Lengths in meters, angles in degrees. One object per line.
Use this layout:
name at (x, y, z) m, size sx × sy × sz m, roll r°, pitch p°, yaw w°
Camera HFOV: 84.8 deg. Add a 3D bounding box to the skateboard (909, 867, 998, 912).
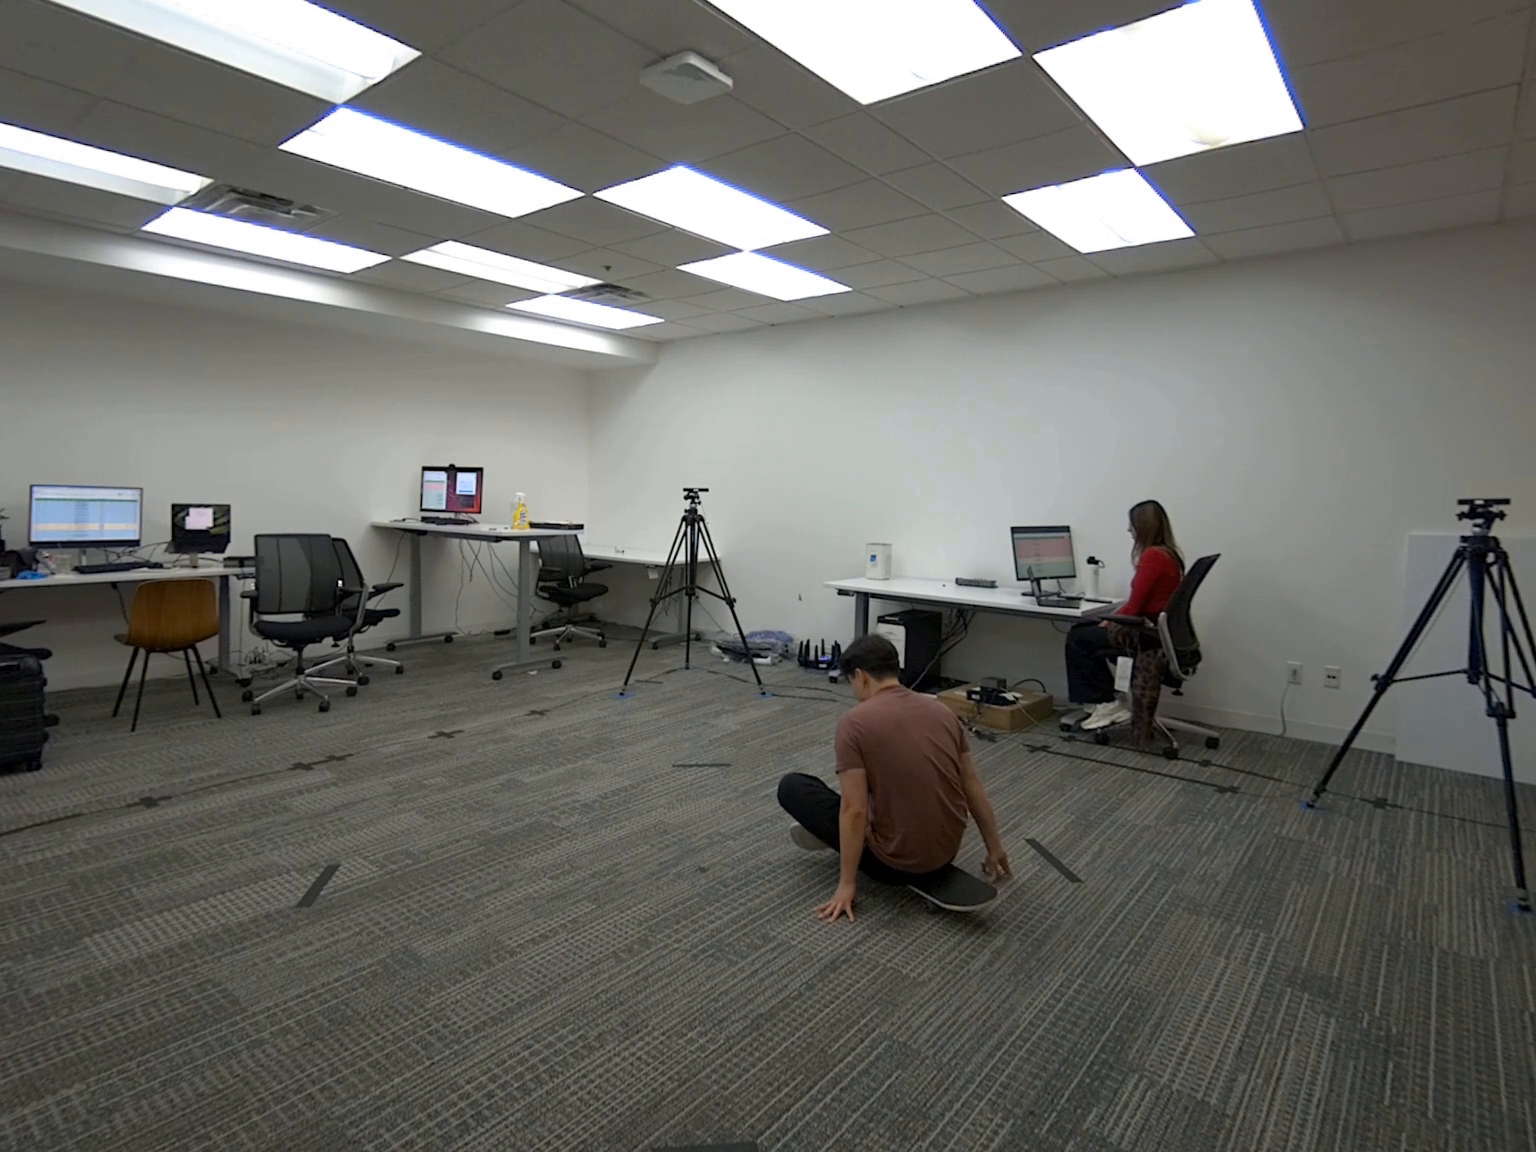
skateboard at (0.478, 1.043, 3.022) m, size 0.189 × 0.109 × 0.812 m, roll -15°, pitch 14°, yaw -33°
